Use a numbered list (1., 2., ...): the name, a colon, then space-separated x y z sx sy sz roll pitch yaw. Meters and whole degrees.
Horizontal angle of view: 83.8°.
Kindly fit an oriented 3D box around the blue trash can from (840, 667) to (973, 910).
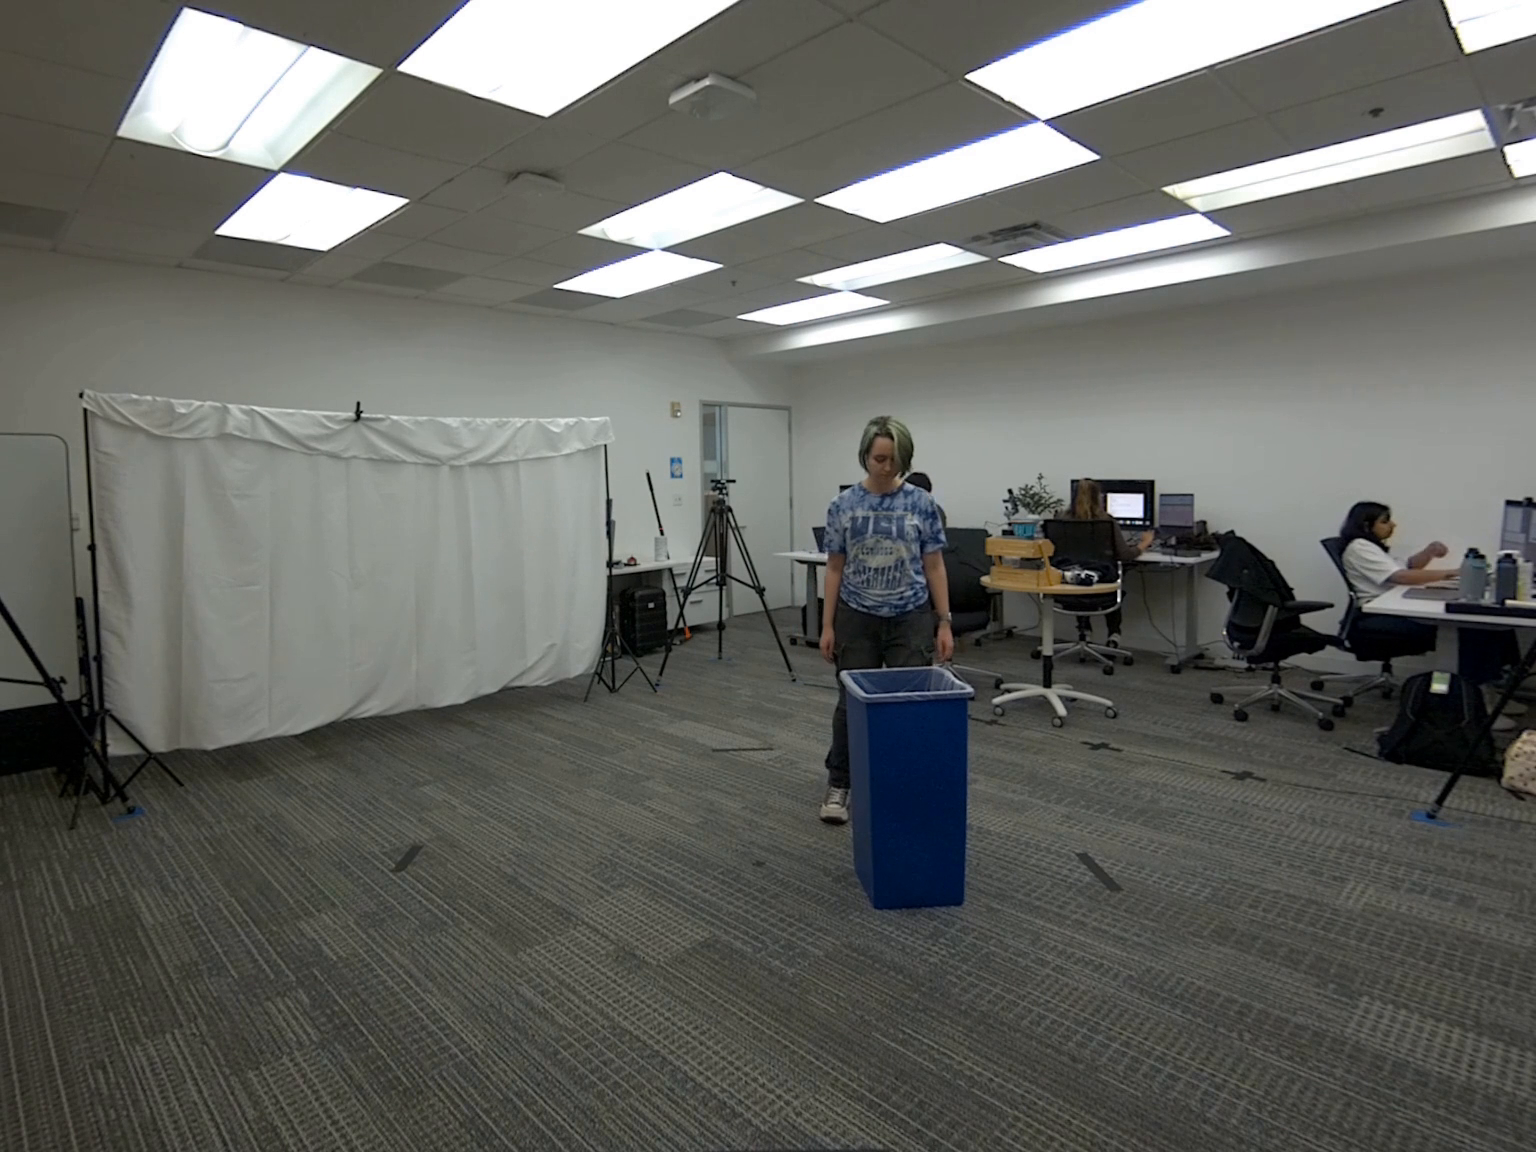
1. blue trash can: 0.466 0.710 2.892 0.372 0.711 0.381 -1 4 -6
